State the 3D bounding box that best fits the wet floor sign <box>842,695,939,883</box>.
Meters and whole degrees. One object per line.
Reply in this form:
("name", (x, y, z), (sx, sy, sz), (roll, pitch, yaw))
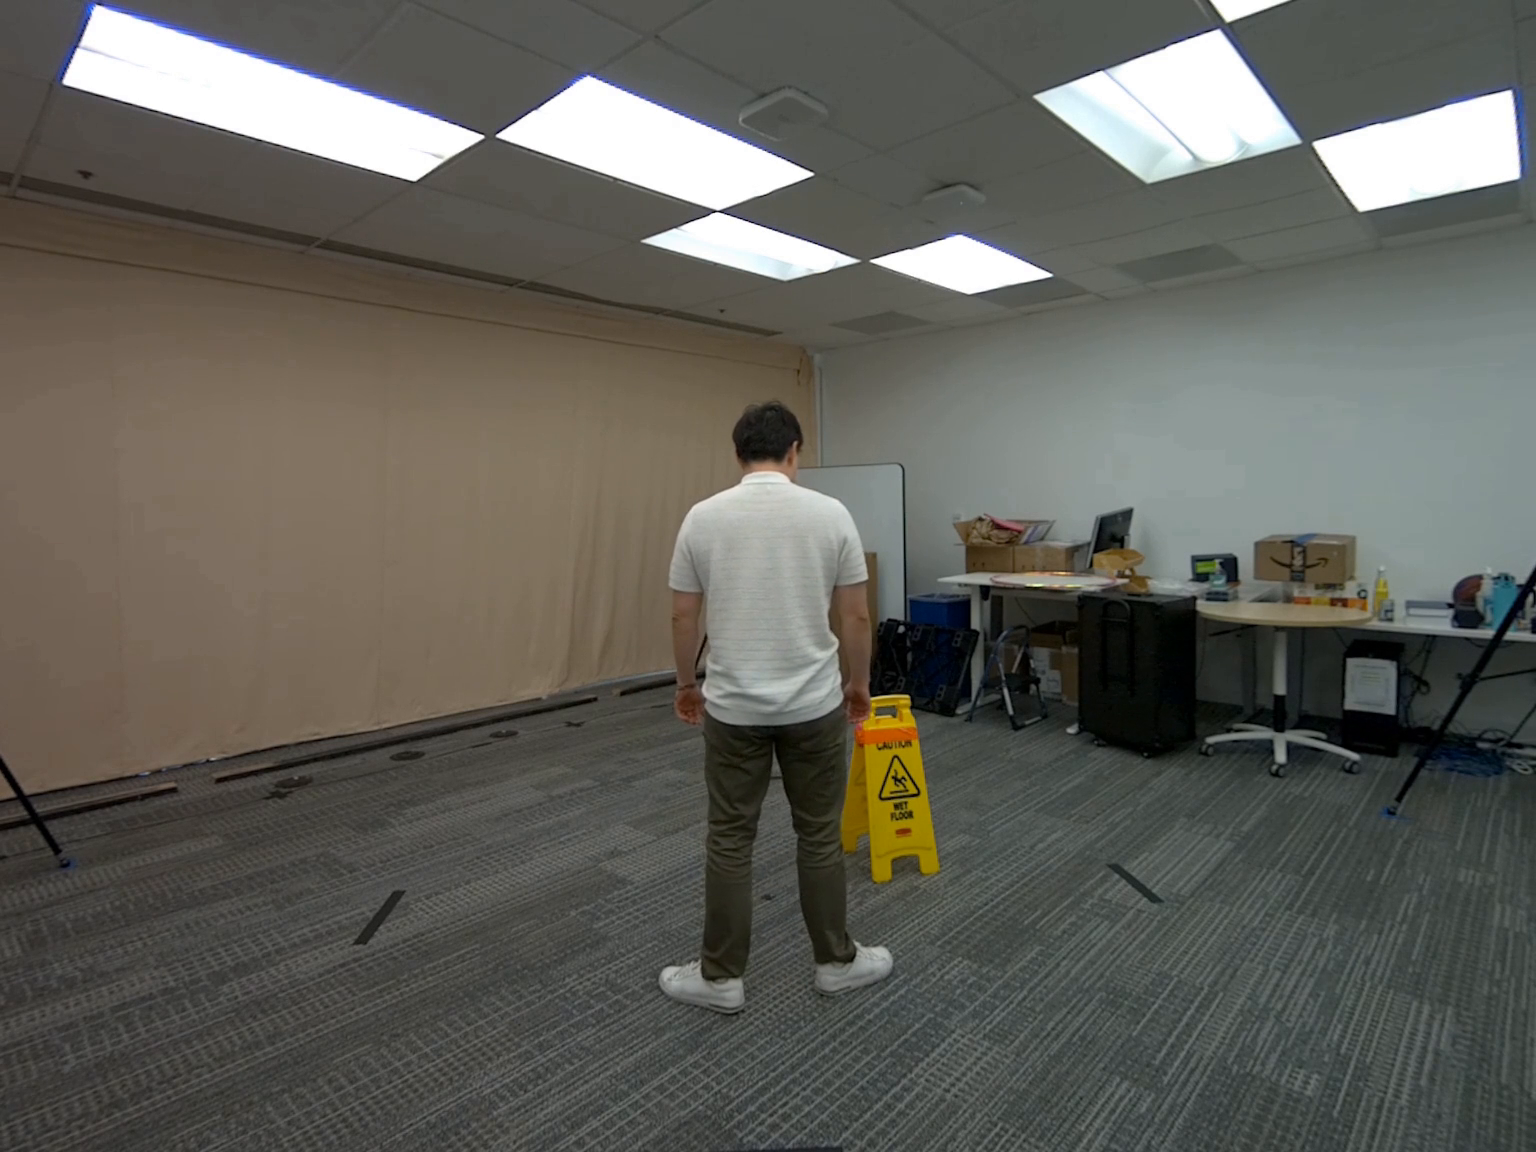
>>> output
("wet floor sign", (0.460, 0.784, 3.251), (0.277, 0.645, 0.296), (-1, 2, -20))
